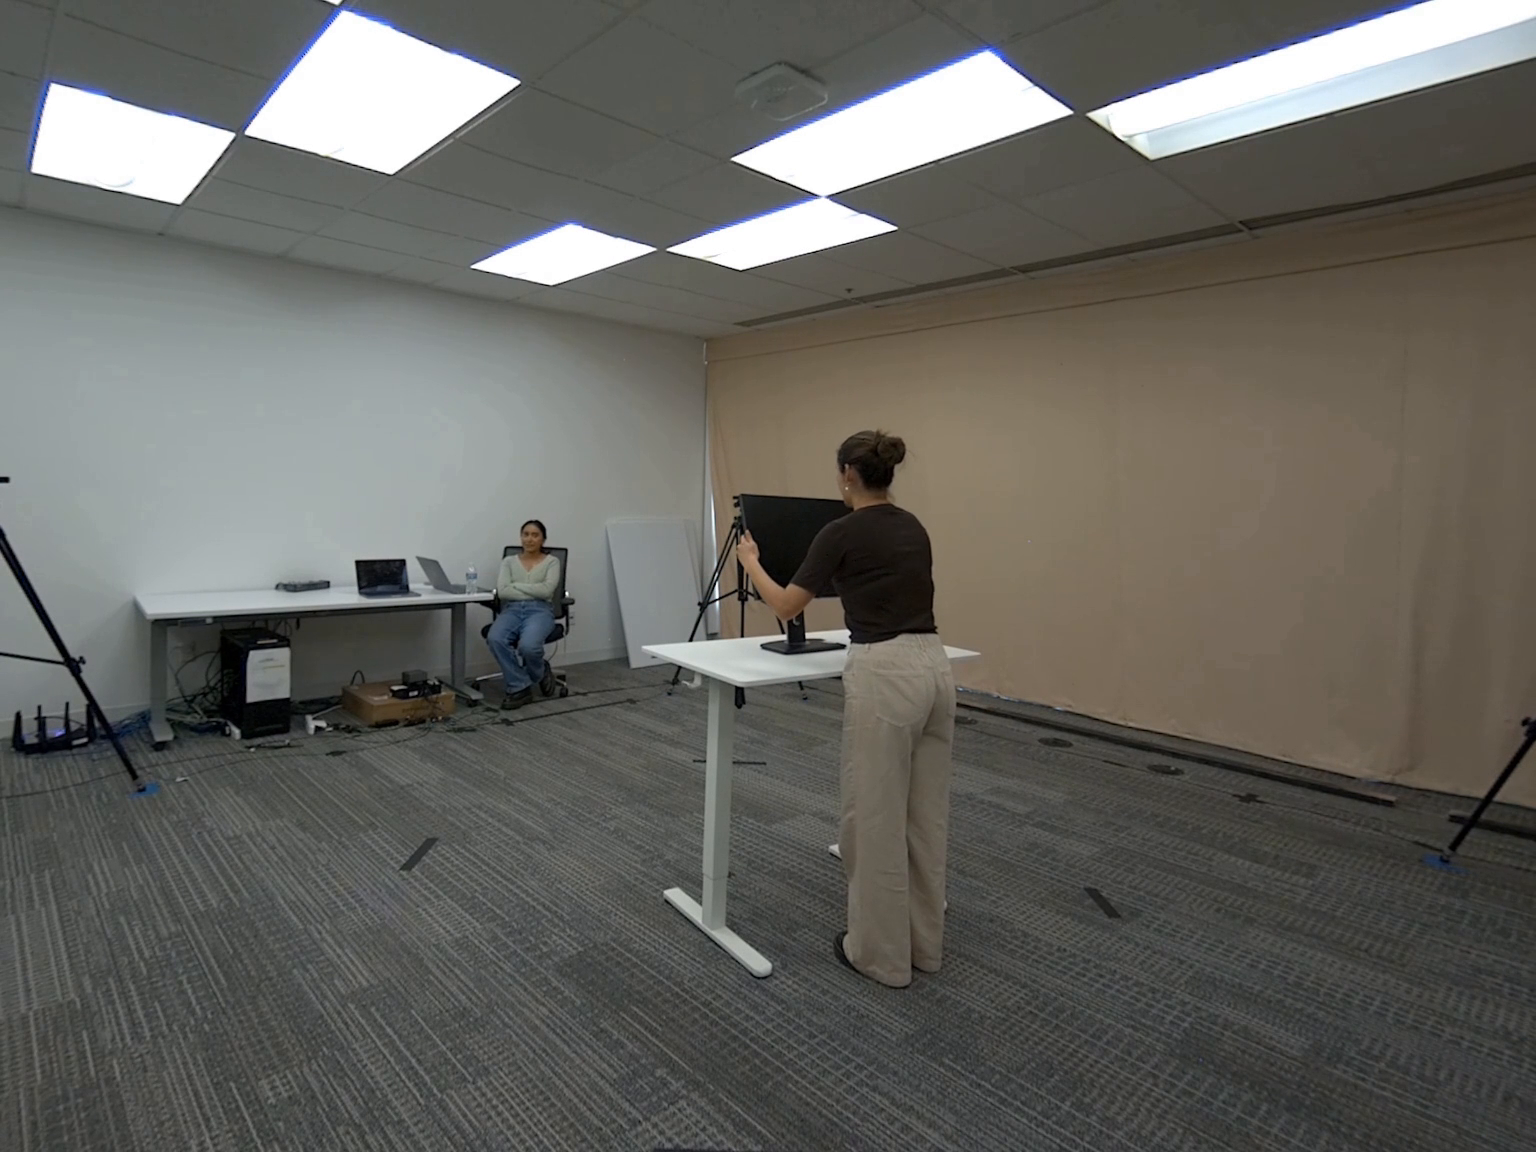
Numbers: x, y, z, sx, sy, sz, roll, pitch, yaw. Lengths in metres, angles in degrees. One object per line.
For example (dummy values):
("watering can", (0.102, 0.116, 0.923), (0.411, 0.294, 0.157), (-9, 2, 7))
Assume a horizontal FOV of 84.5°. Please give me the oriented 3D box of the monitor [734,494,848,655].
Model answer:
("monitor", (0.111, -0.006, 2.872), (0.526, 0.523, 0.191), (0, -1, -41))
